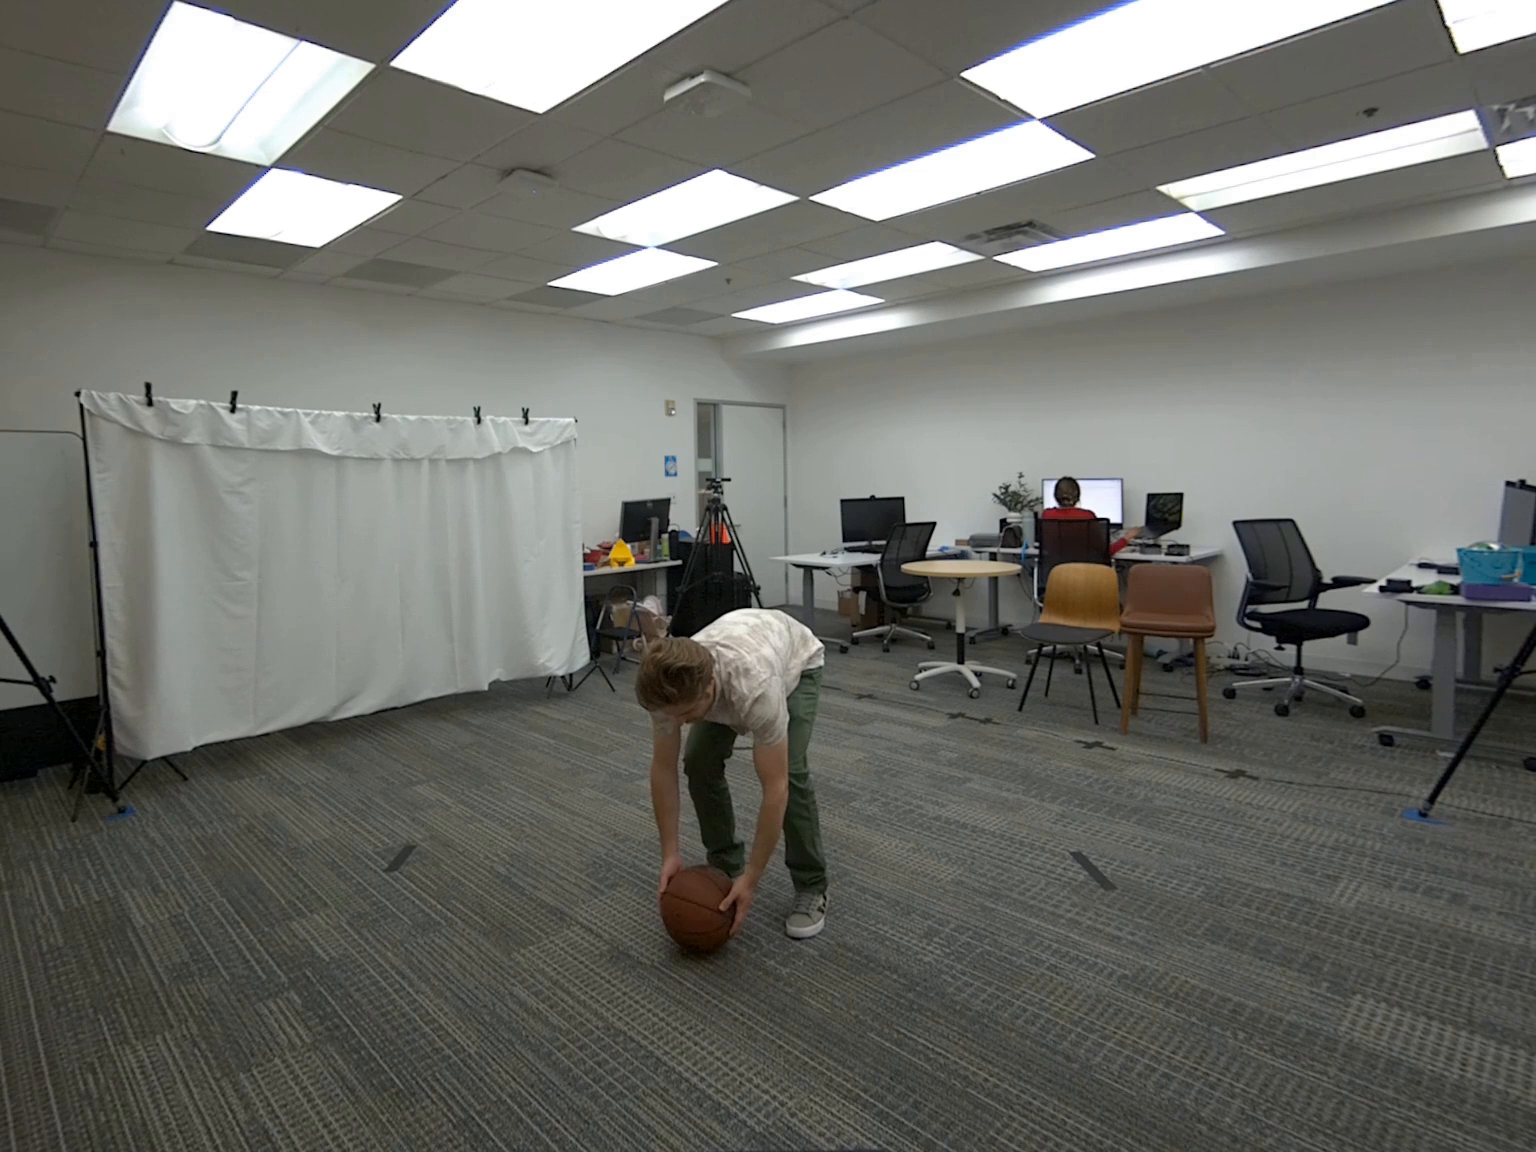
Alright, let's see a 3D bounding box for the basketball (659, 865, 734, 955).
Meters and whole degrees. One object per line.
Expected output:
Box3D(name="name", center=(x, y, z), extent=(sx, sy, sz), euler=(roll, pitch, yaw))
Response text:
Box3D(name="basketball", center=(-0.197, 0.987, 2.552), extent=(0.236, 0.235, 0.237), euler=(-1, 5, -2))
